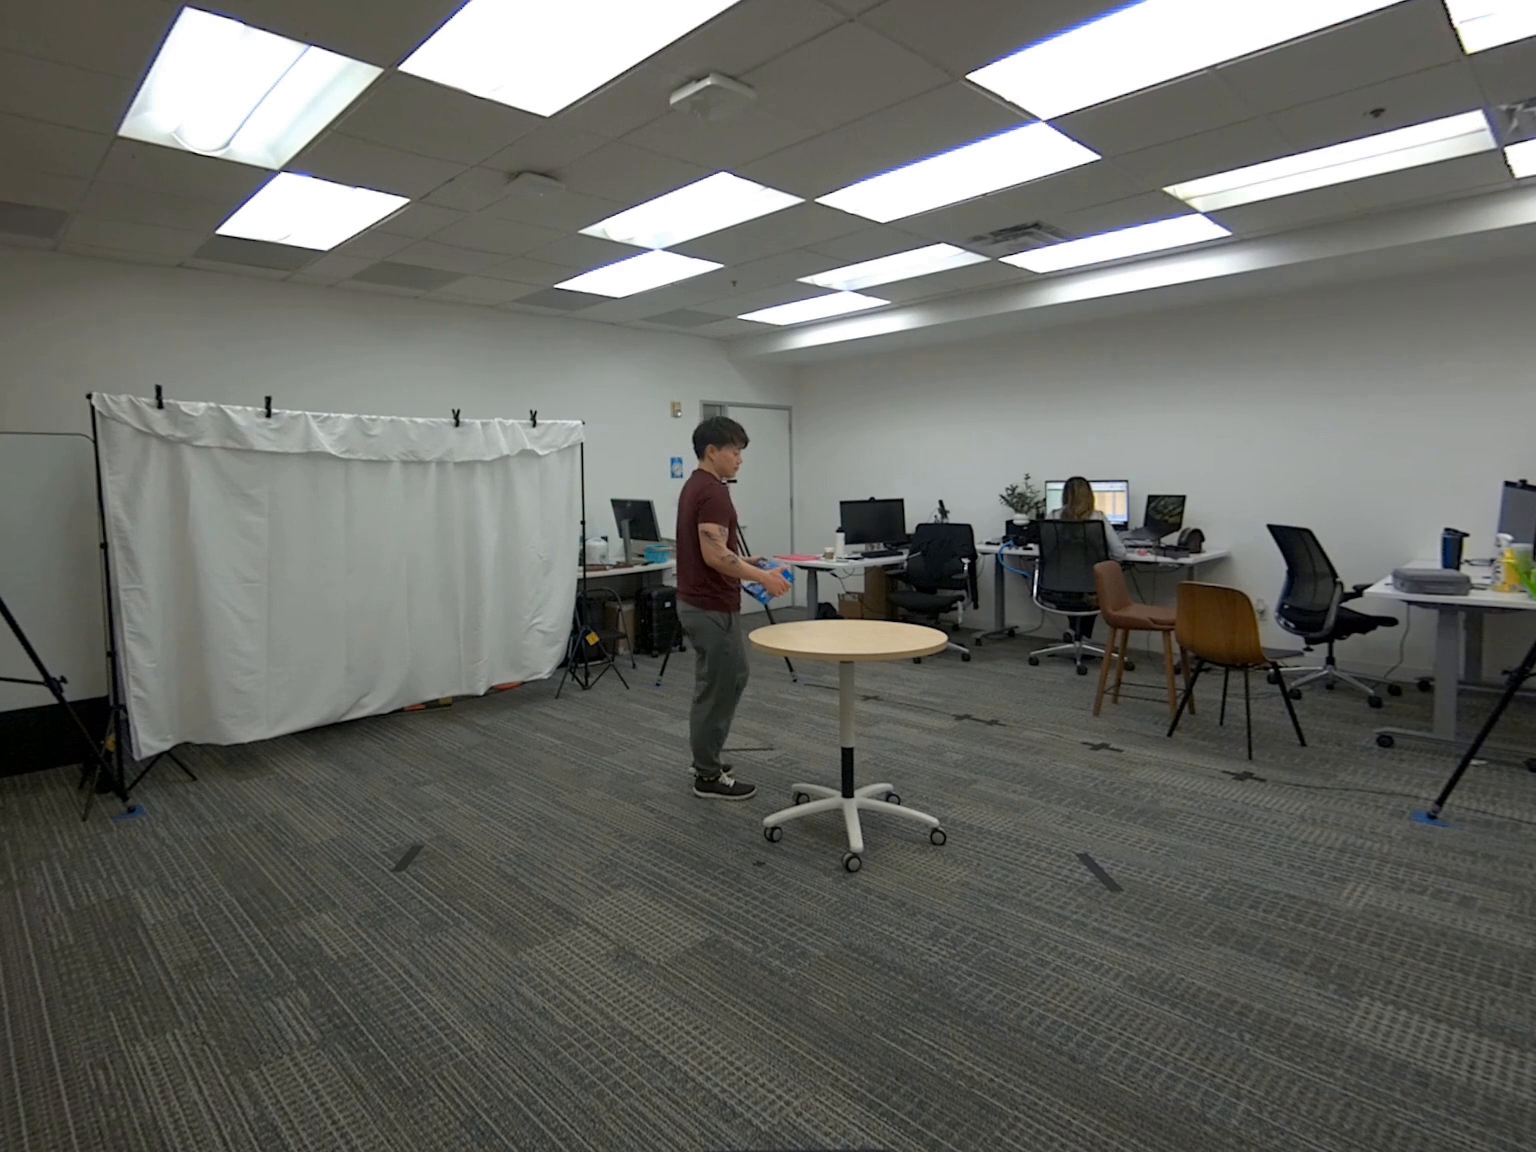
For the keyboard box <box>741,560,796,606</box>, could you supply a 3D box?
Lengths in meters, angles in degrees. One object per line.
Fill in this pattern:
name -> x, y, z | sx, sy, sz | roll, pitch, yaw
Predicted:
keyboard box -> -0.017, 0.023, 3.794 | 0.176, 0.058, 0.443 | -38, 12, -6
